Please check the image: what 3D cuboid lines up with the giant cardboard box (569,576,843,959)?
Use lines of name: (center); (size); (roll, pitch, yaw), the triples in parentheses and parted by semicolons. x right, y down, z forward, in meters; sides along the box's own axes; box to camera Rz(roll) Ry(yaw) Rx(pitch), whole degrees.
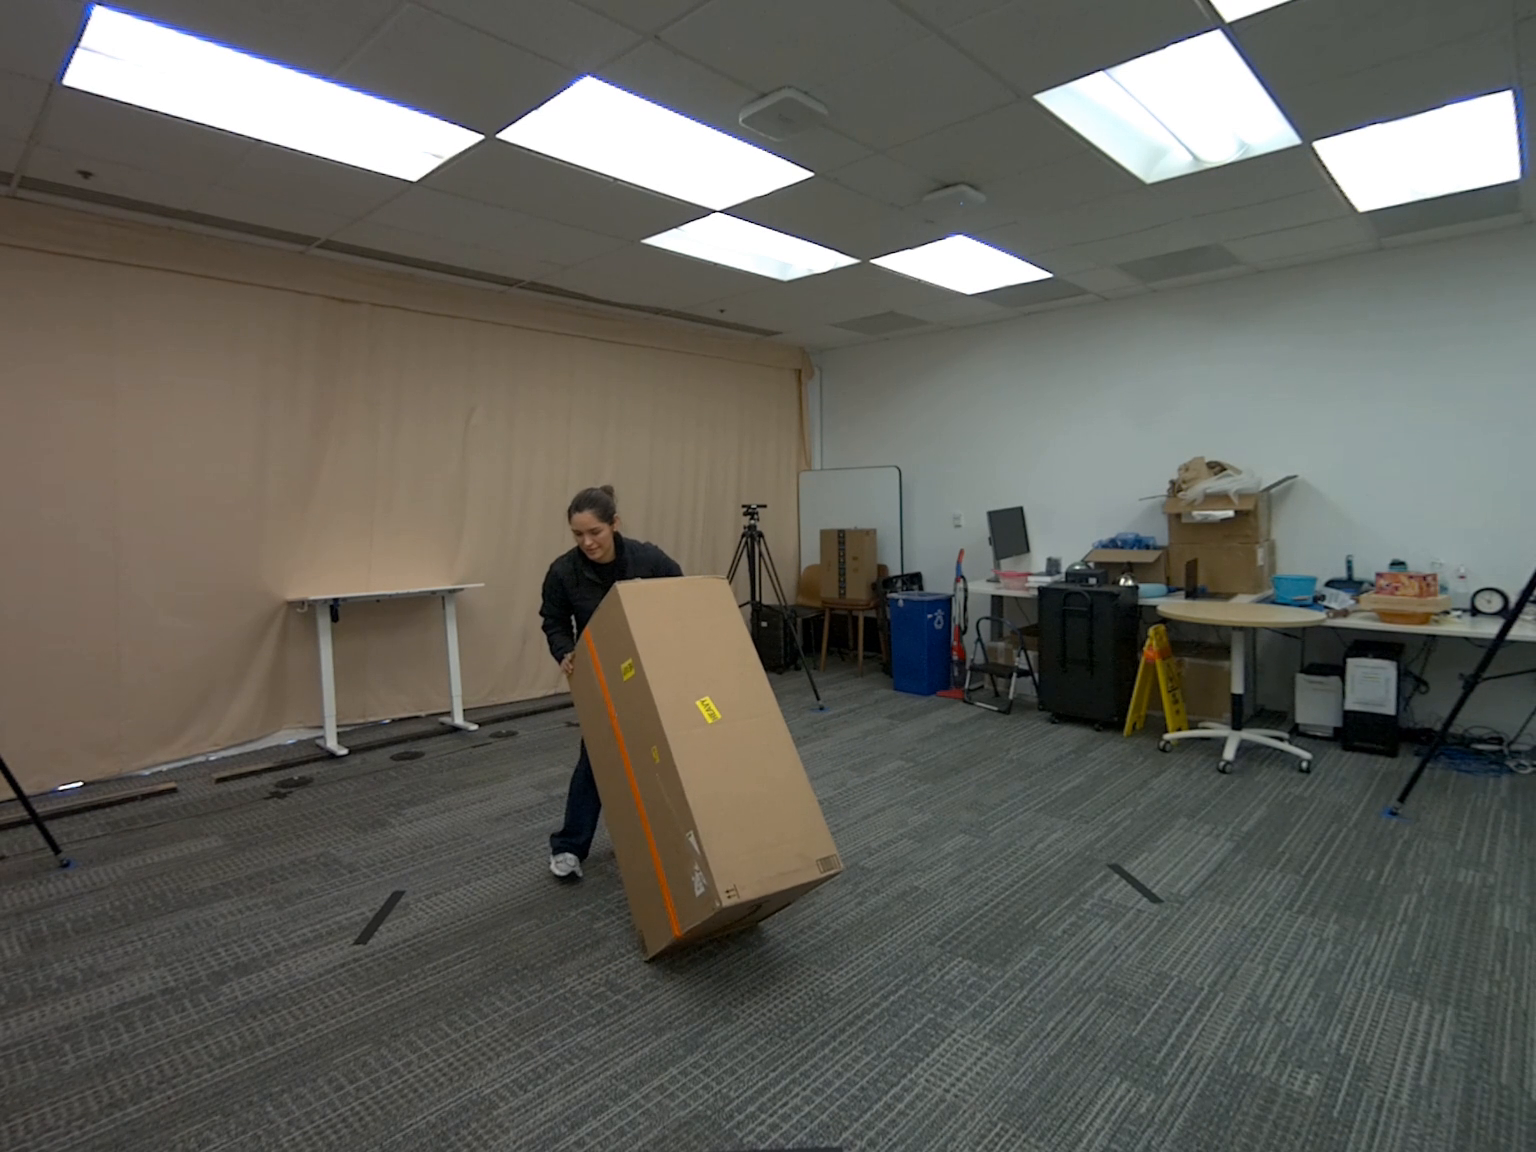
giant cardboard box: (-0.247, 0.589, 2.738); (0.434, 1.053, 0.586); (-4, -33, -34)
